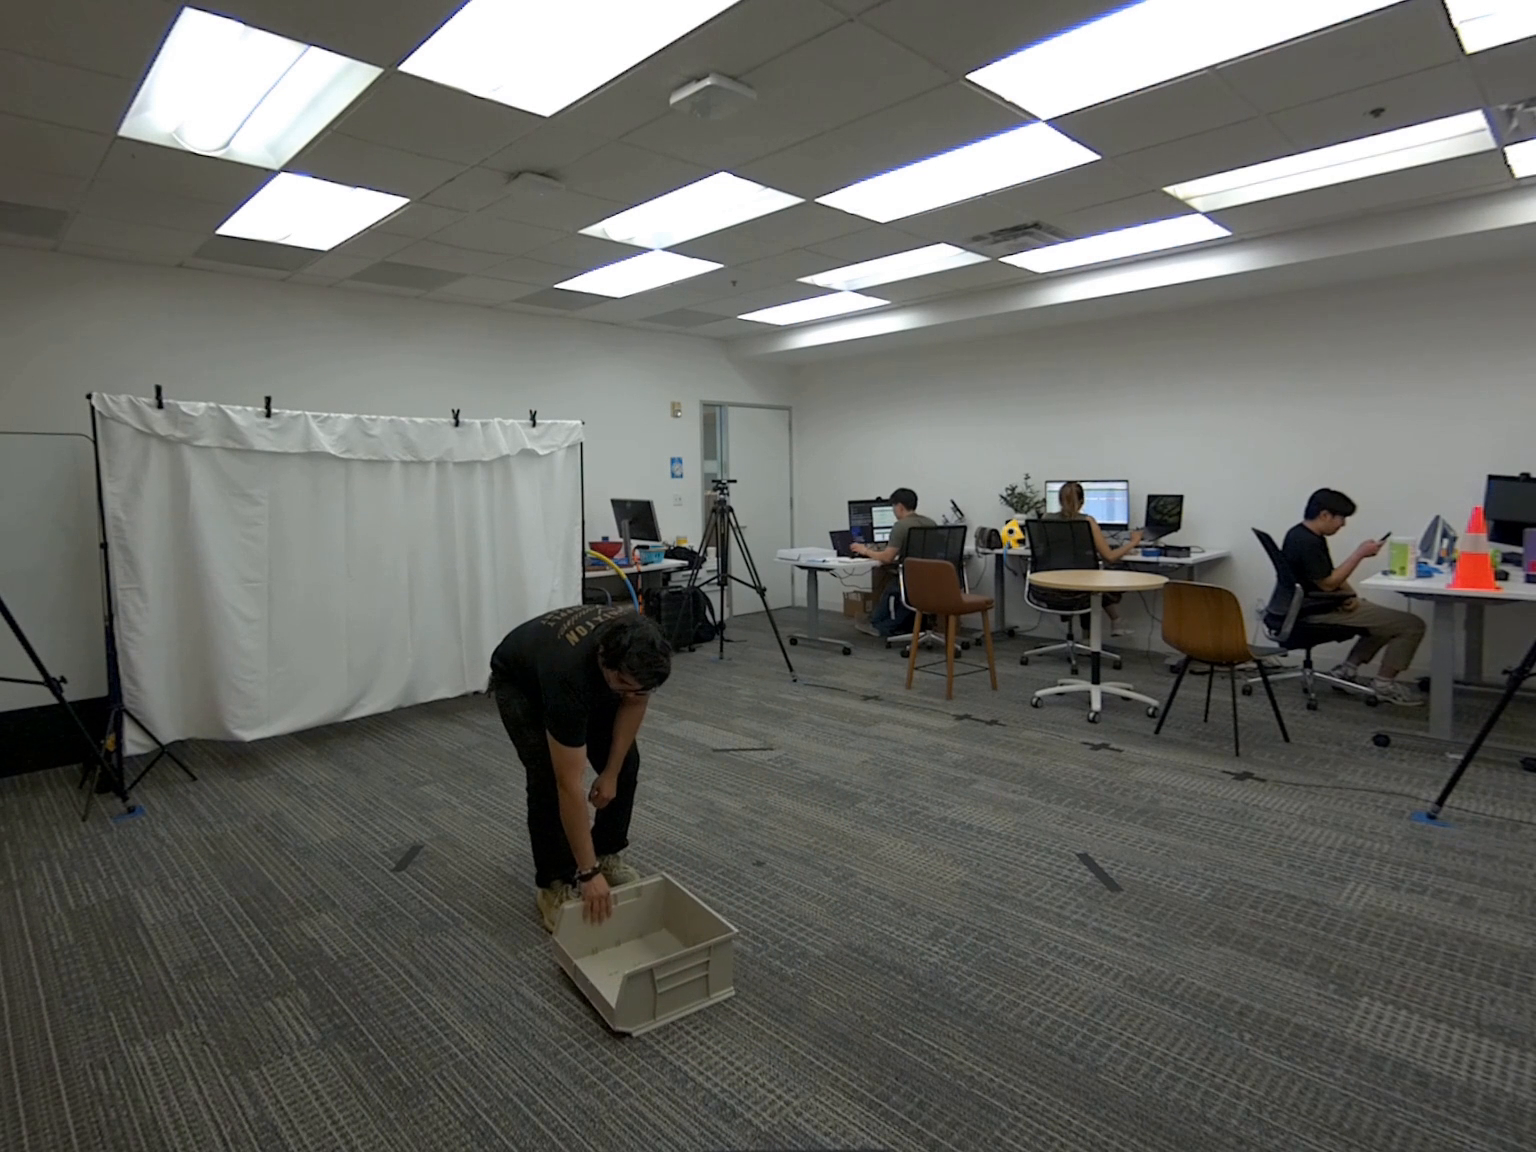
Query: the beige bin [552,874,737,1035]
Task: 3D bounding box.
[{"bbox_3d":[-0.346,1.046,2.391,0.368,0.188,0.435,-4,6,-34],"label":"beige bin"}]
